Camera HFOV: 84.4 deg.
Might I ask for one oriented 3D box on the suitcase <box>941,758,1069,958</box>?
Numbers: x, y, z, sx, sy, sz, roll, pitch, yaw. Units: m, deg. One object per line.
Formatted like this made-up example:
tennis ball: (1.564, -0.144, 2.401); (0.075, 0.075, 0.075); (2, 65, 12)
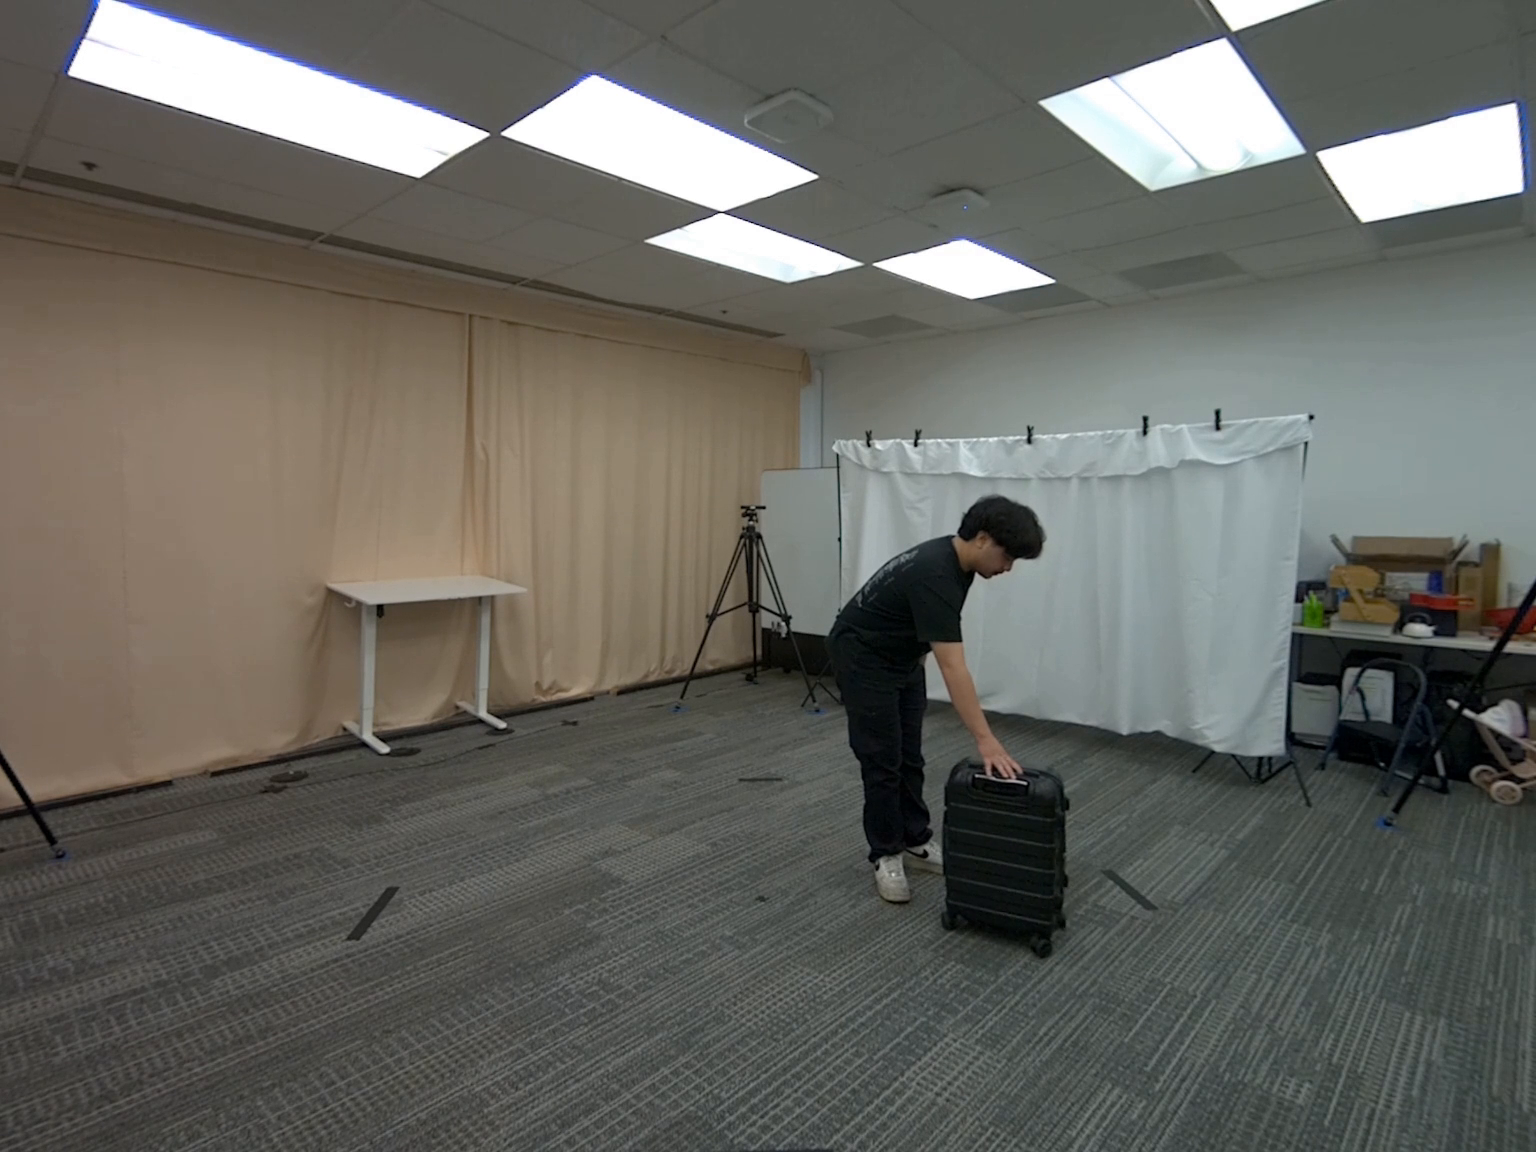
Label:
suitcase: (0.787, 0.888, 2.758); (0.385, 0.548, 0.242); (2, 3, 27)
